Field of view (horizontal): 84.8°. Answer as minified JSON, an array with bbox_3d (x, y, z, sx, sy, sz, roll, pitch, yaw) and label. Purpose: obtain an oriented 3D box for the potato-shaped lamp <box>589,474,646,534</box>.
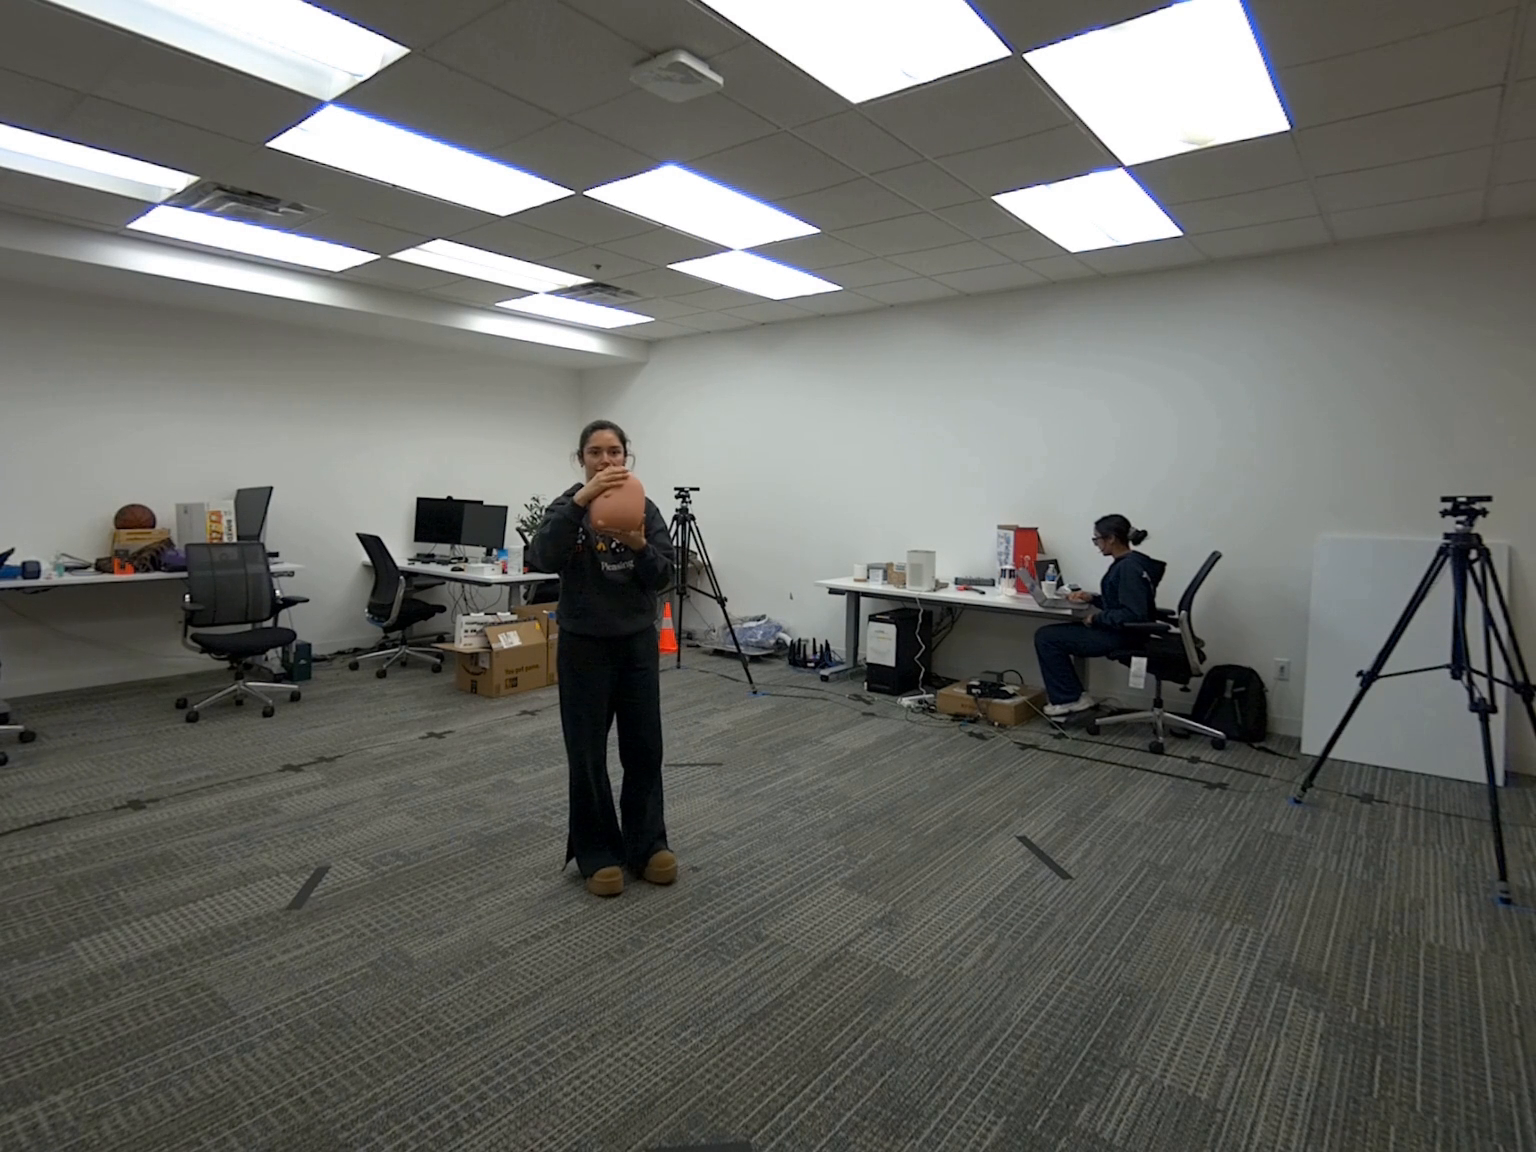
[{"bbox_3d":[-0.490,-0.246,2.705,0.159,0.200,0.175,18,-17,-30],"label":"potato-shaped lamp"}]
